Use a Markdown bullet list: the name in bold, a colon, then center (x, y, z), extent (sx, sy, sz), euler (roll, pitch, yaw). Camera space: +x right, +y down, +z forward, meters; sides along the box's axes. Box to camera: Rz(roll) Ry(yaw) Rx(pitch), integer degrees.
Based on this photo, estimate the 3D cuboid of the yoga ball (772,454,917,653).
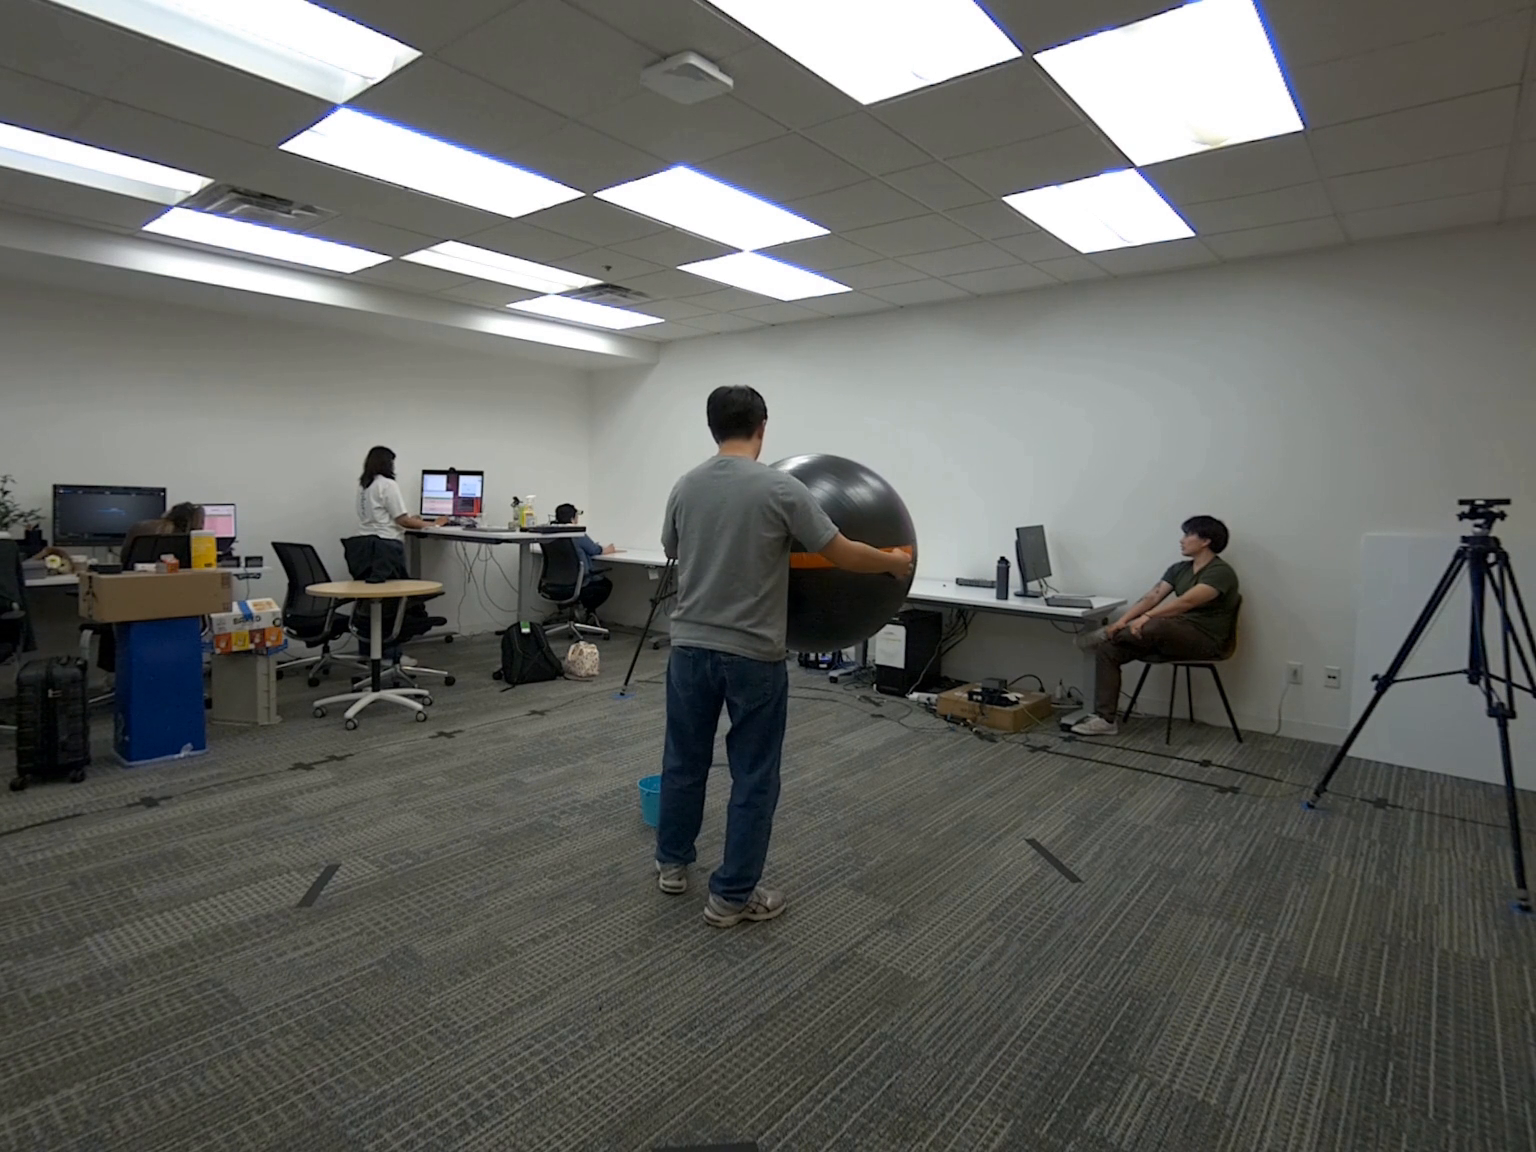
- **yoga ball**: center (0.171, -0.081, 3.260), extent (0.757, 0.756, 0.761), euler (1, 4, -2)
